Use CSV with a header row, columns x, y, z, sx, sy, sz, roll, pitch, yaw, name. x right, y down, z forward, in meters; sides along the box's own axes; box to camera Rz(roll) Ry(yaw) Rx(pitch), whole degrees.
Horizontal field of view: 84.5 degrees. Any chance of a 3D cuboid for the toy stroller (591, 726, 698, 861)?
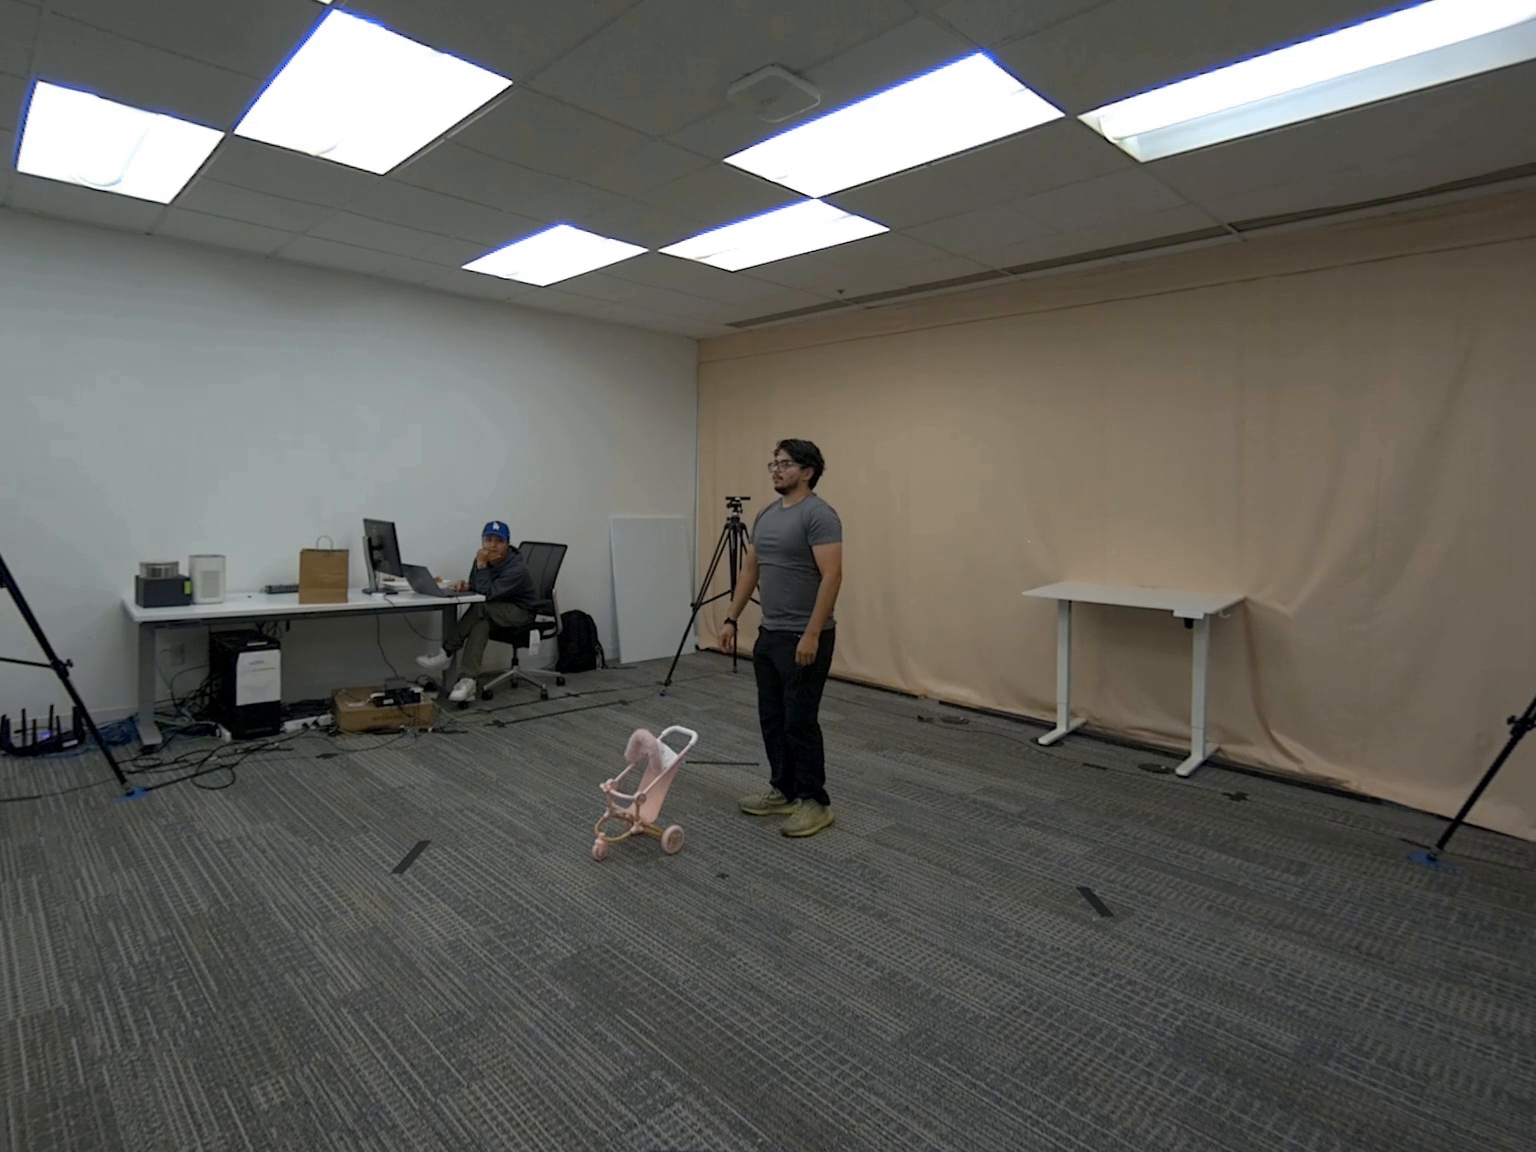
x,y,z,sx,sy,sz,roll,pitch,yaw,name
-0.509,0.849,3.329,0.332,0.537,0.288,17,-8,-38,toy stroller
